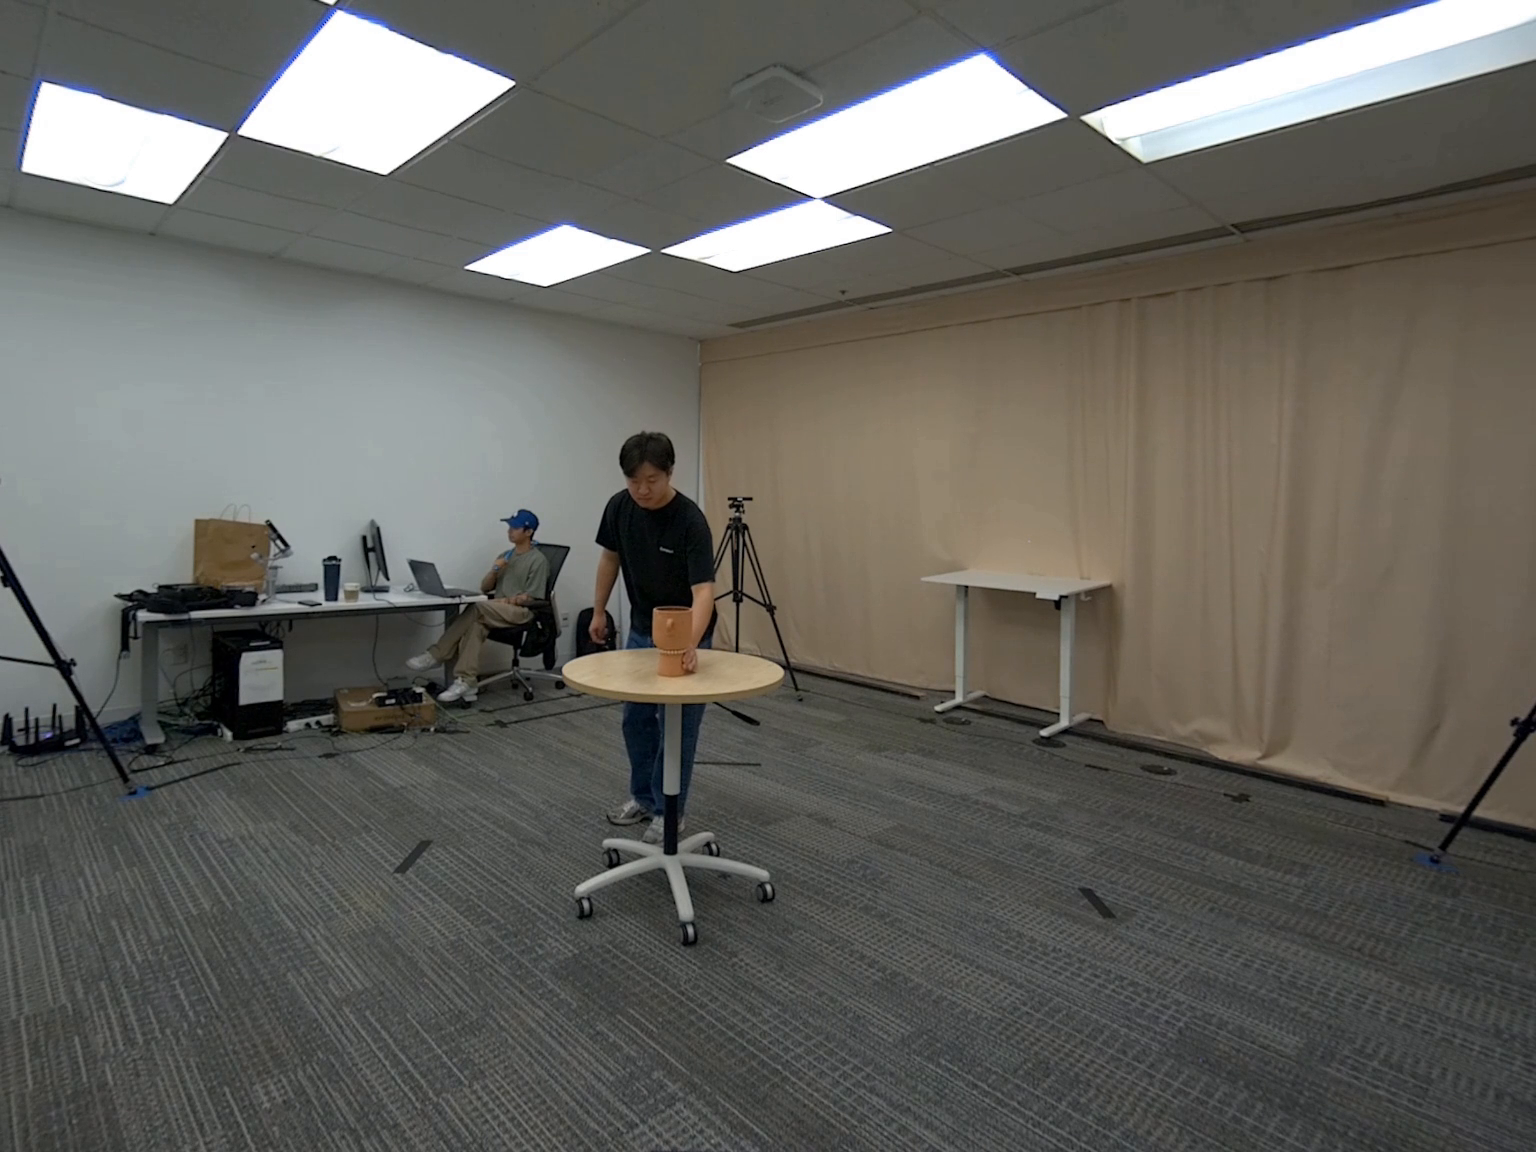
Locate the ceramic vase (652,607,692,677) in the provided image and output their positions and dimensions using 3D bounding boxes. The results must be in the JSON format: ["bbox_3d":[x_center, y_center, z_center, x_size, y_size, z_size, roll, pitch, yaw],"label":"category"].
[{"bbox_3d":[-0.343,0.222,2.829,0.138,0.219,0.155,6,6,41],"label":"ceramic vase"}]
